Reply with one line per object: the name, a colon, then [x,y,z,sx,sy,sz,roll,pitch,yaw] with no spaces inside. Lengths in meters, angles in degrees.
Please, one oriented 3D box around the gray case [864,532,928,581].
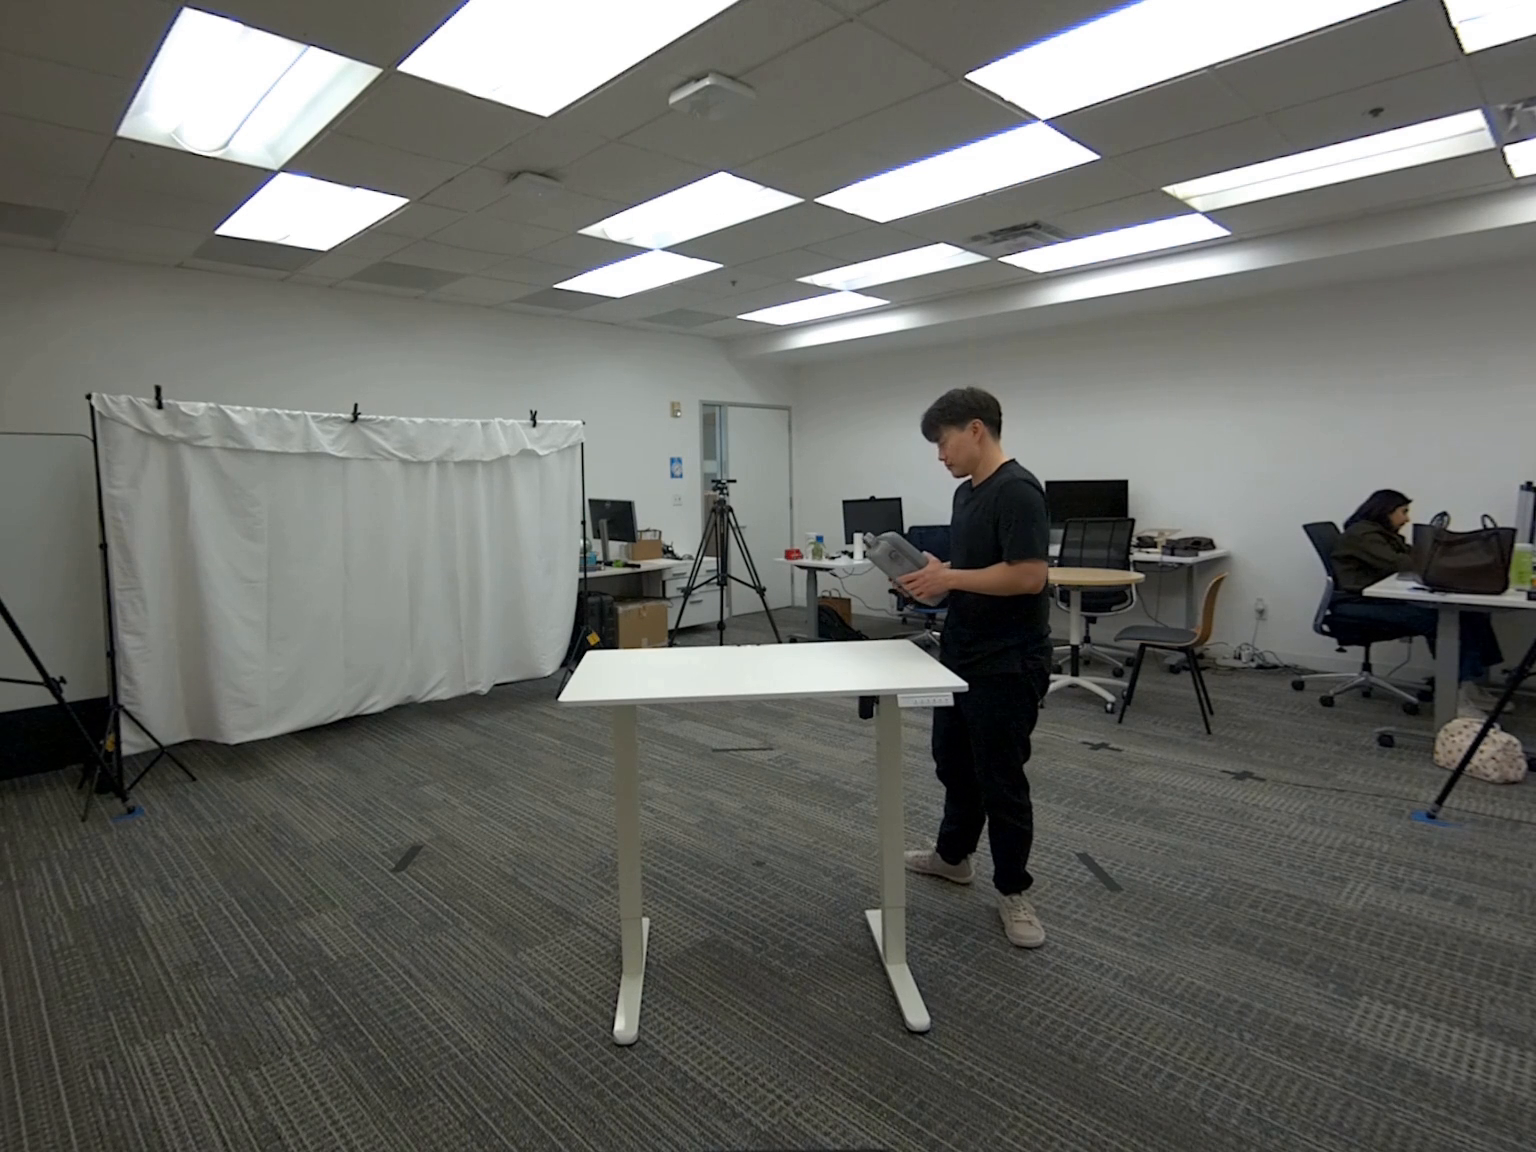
gray case: [0.442,-0.026,2.664,0.261,0.104,0.257,40,-1,-1]
